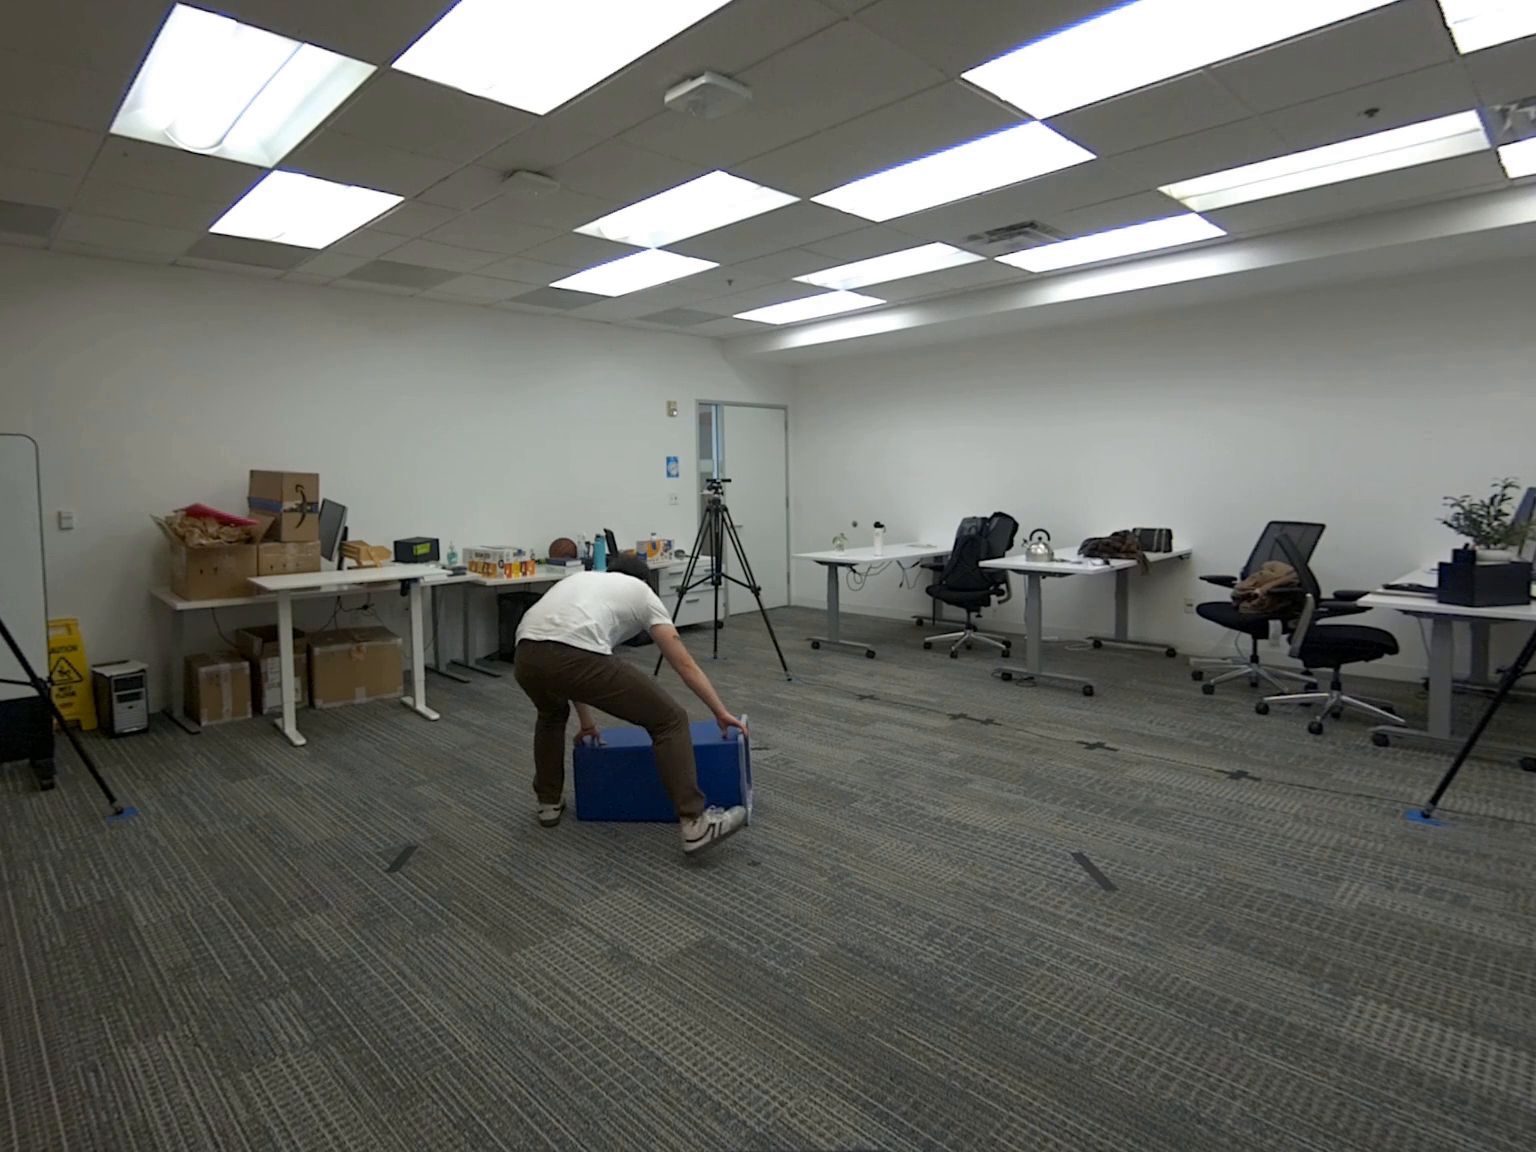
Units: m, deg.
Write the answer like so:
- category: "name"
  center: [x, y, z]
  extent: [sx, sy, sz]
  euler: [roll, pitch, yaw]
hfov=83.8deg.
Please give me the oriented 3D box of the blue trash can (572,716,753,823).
- category: "blue trash can"
  center: [-0.429, 0.819, 3.640]
  extent: [0.717, 0.376, 0.374]
  euler: [-3, 6, 5]
